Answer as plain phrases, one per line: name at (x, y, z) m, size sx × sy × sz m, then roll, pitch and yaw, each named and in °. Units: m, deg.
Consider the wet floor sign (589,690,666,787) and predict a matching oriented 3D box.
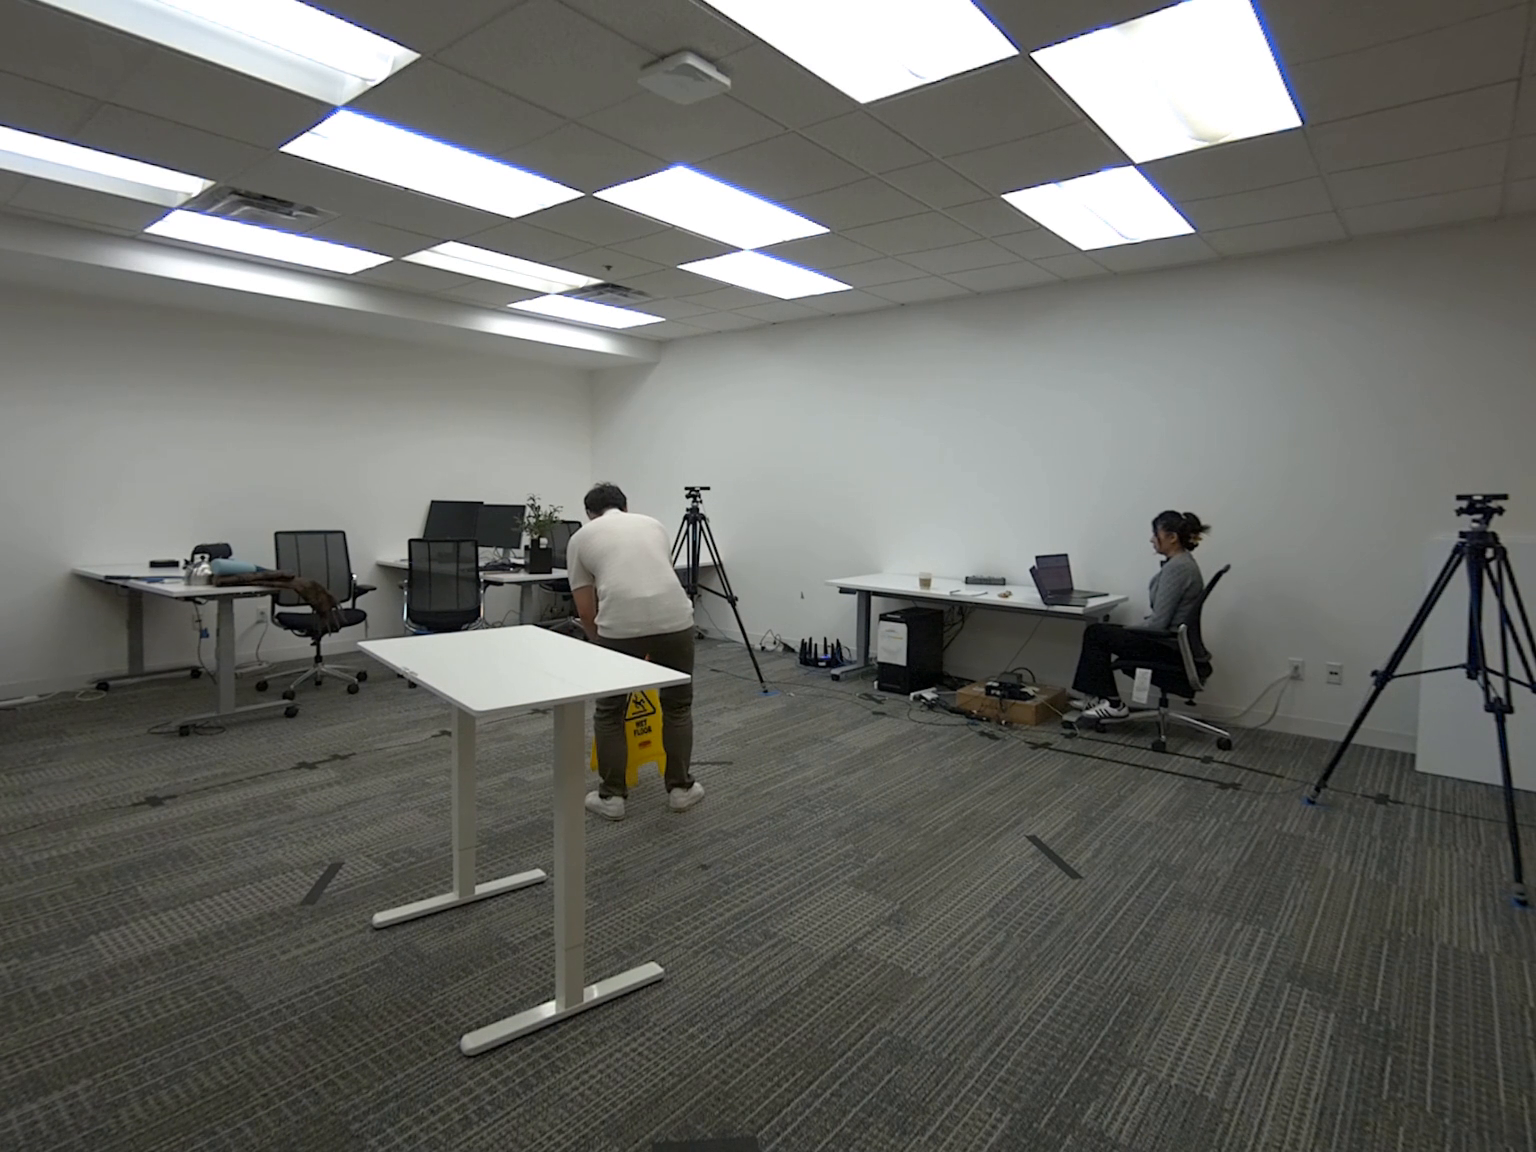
wet floor sign at (-0.664, 0.590, 3.955) m, size 0.274 × 0.642 × 0.299 m, roll -7°, pitch 8°, yaw -41°
